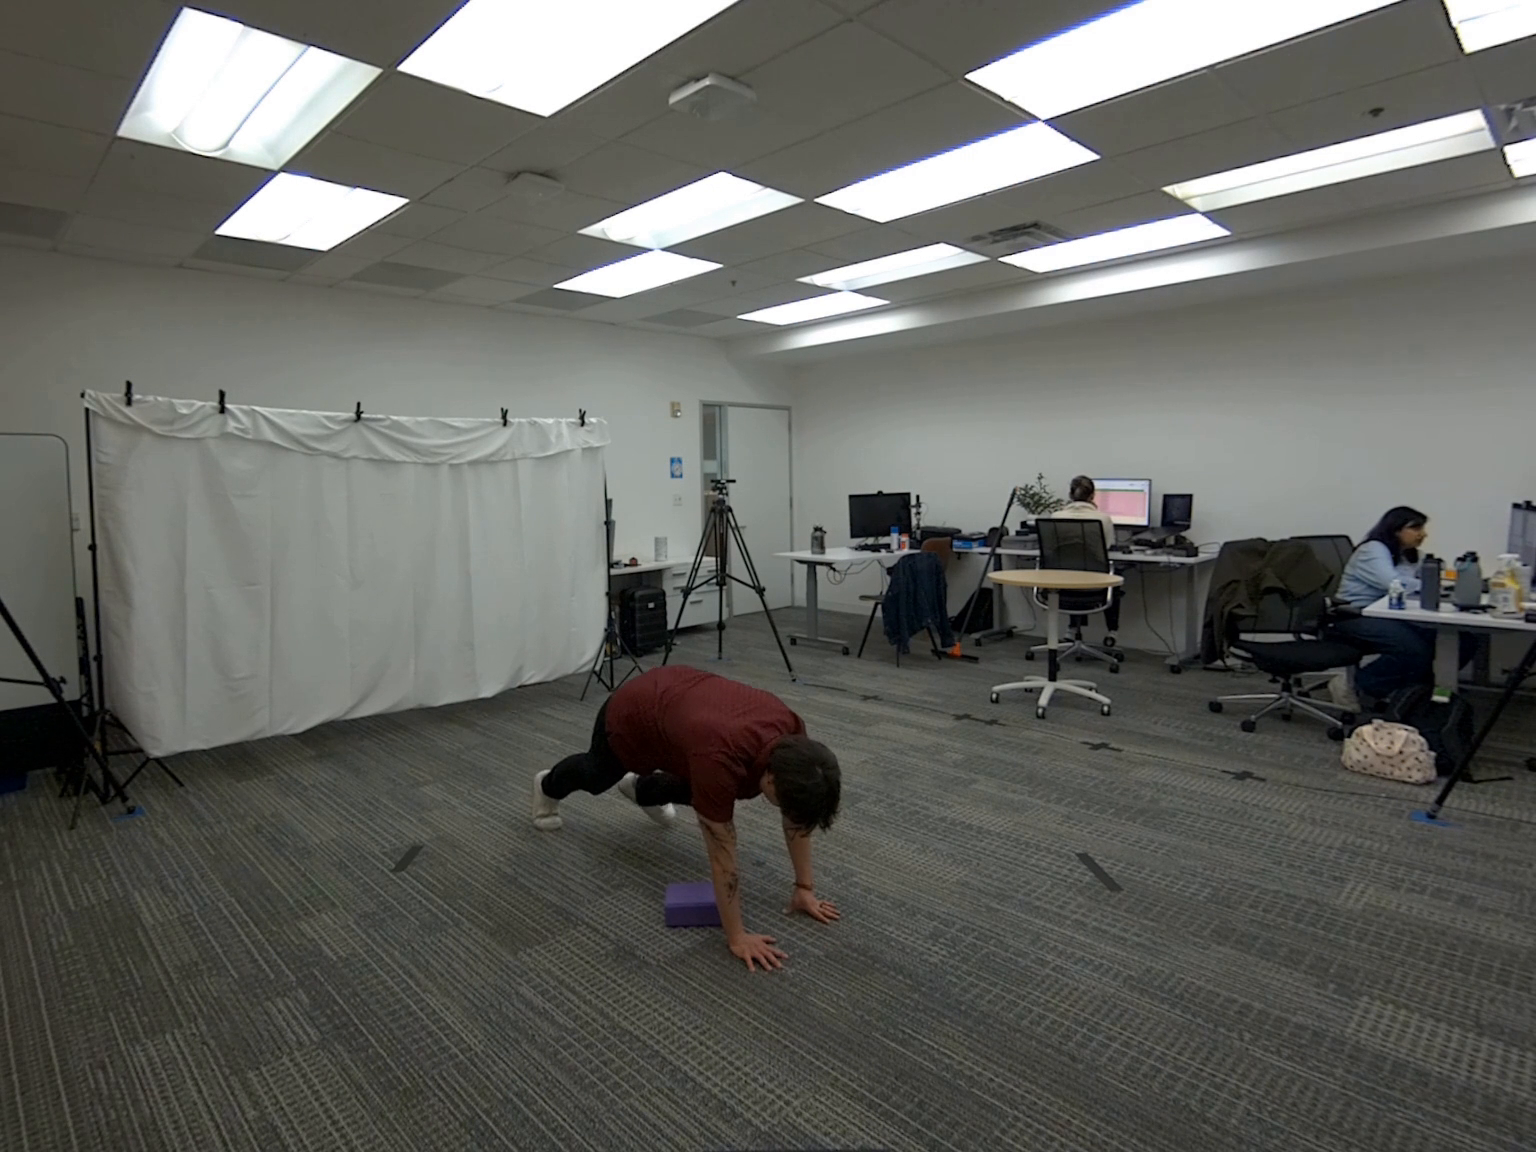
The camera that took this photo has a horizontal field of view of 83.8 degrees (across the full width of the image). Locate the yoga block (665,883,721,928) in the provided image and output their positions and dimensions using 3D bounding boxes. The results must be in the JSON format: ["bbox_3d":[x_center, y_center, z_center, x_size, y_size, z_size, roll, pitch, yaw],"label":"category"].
[{"bbox_3d":[-0.217,1.056,2.746,0.229,0.076,0.150,-2,6,-2],"label":"yoga block"}]
